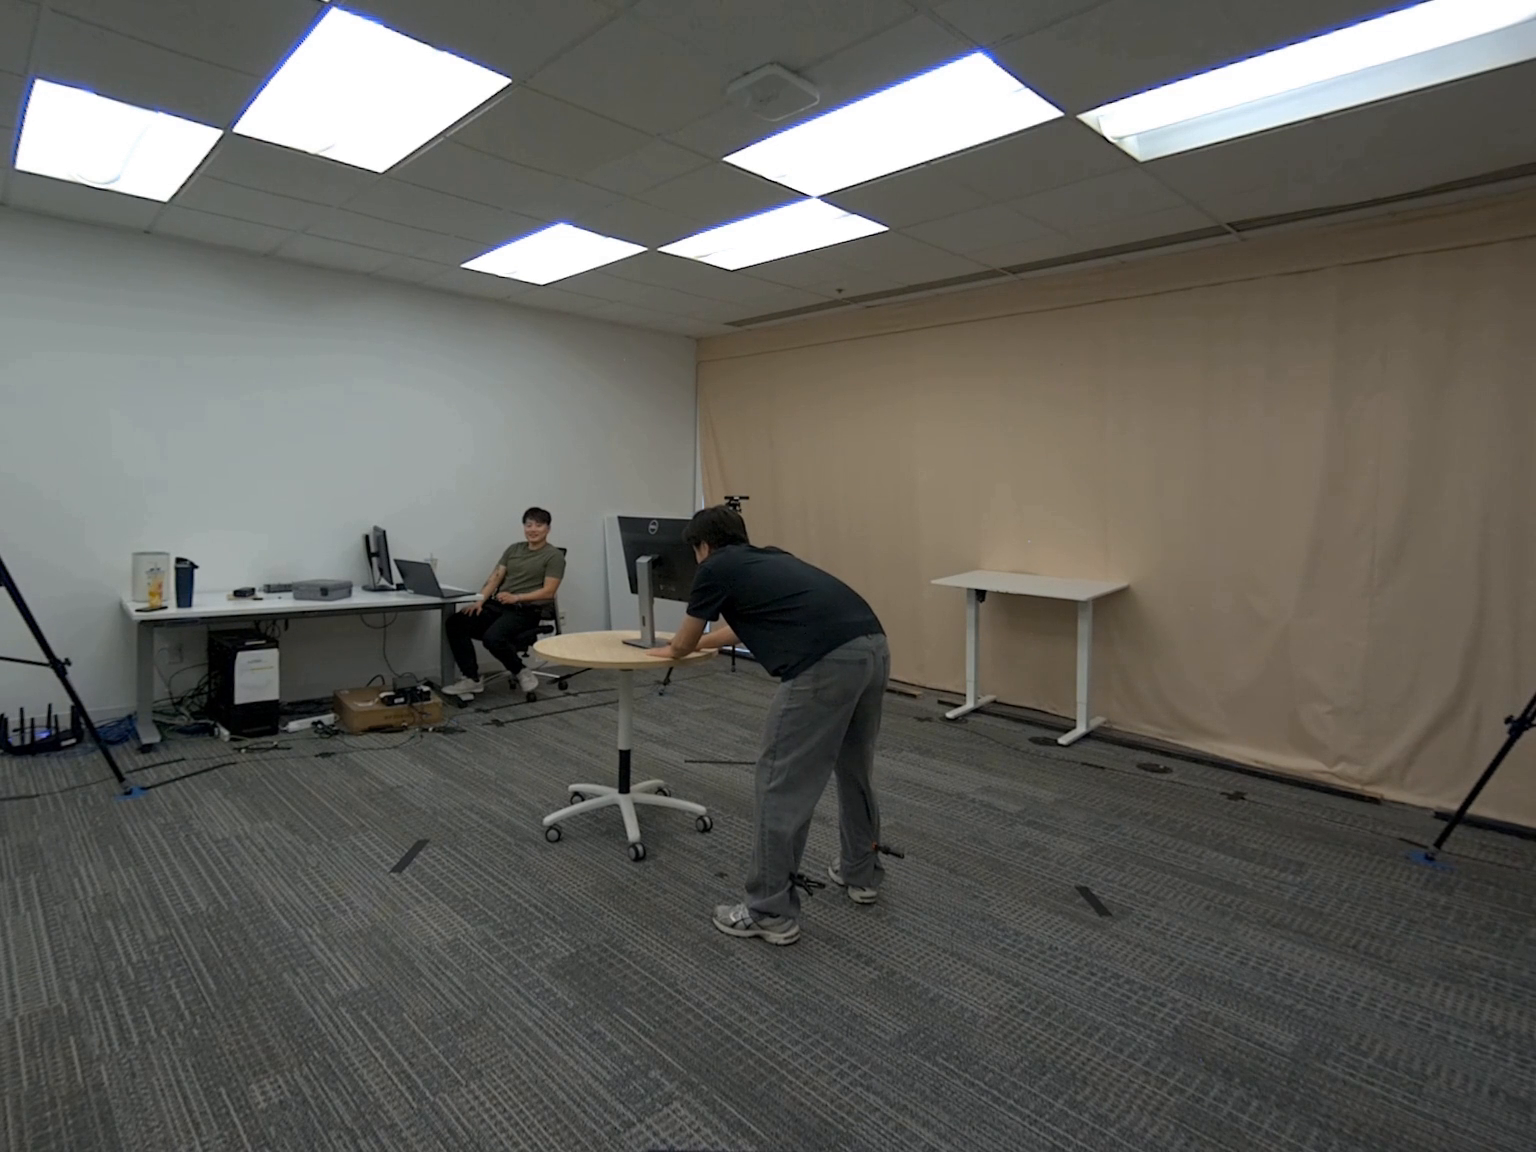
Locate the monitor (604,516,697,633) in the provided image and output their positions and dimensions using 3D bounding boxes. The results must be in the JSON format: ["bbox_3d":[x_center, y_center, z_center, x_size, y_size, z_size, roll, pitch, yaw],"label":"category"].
[{"bbox_3d":[-0.486,0.024,3.498,0.580,0.550,0.206,6,11,45],"label":"monitor"}]
